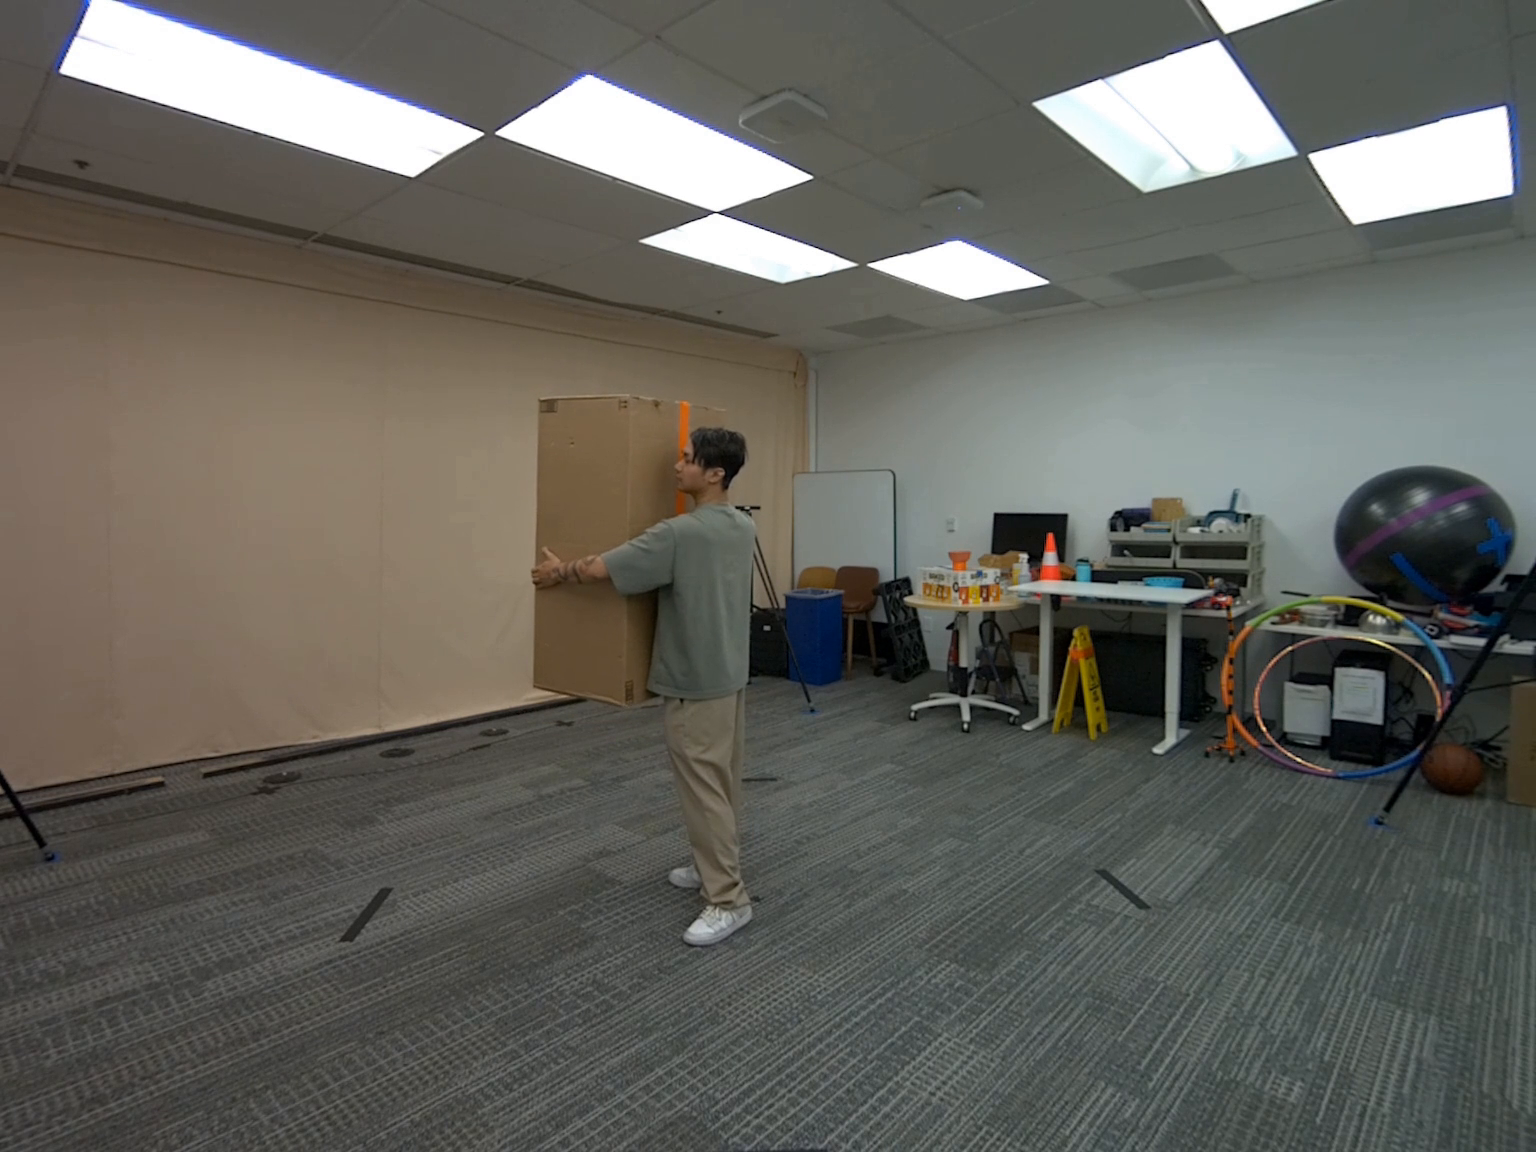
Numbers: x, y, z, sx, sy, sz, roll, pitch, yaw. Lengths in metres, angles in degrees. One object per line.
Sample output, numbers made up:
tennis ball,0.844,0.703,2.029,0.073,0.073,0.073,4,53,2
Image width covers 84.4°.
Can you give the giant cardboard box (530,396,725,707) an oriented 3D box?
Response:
giant cardboard box,-0.495,-0.115,3.080,0.439,1.023,0.561,5,5,31
